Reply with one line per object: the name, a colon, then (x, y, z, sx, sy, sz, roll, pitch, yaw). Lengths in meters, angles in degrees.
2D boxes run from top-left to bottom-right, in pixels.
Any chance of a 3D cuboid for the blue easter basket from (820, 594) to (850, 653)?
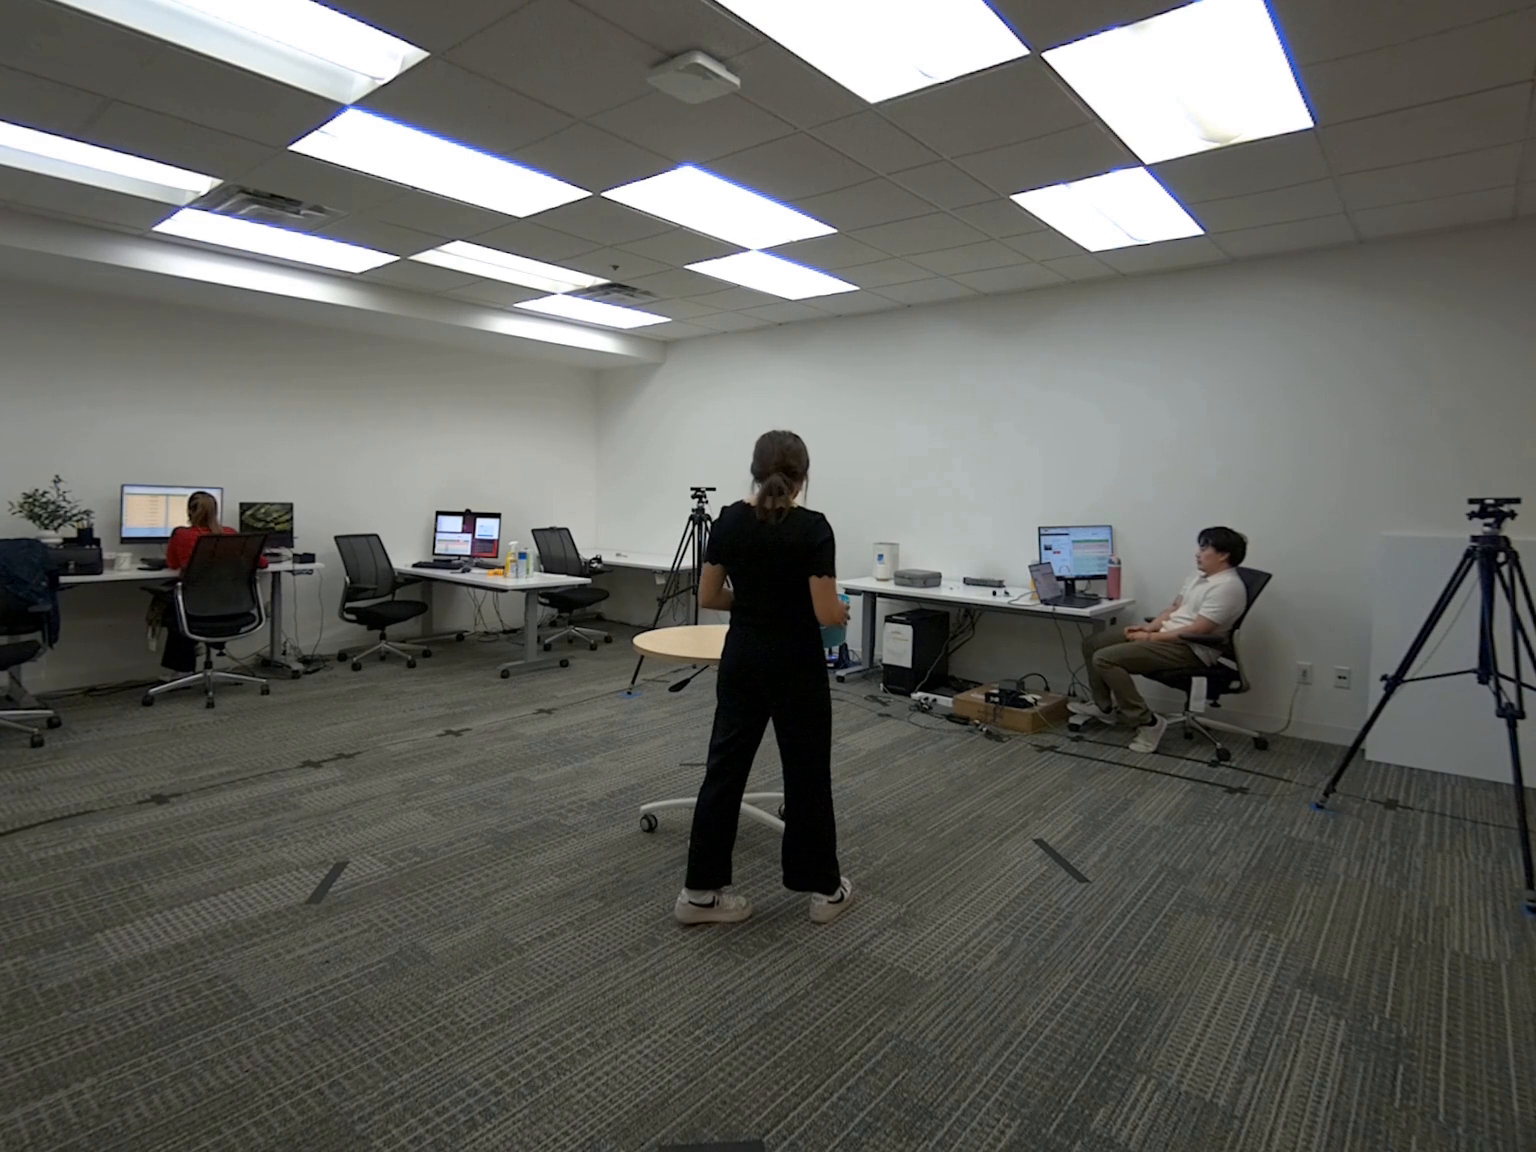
blue easter basket: (0.159, 0.157, 2.971, 0.243, 0.154, 0.246, -5, 9, -1)
